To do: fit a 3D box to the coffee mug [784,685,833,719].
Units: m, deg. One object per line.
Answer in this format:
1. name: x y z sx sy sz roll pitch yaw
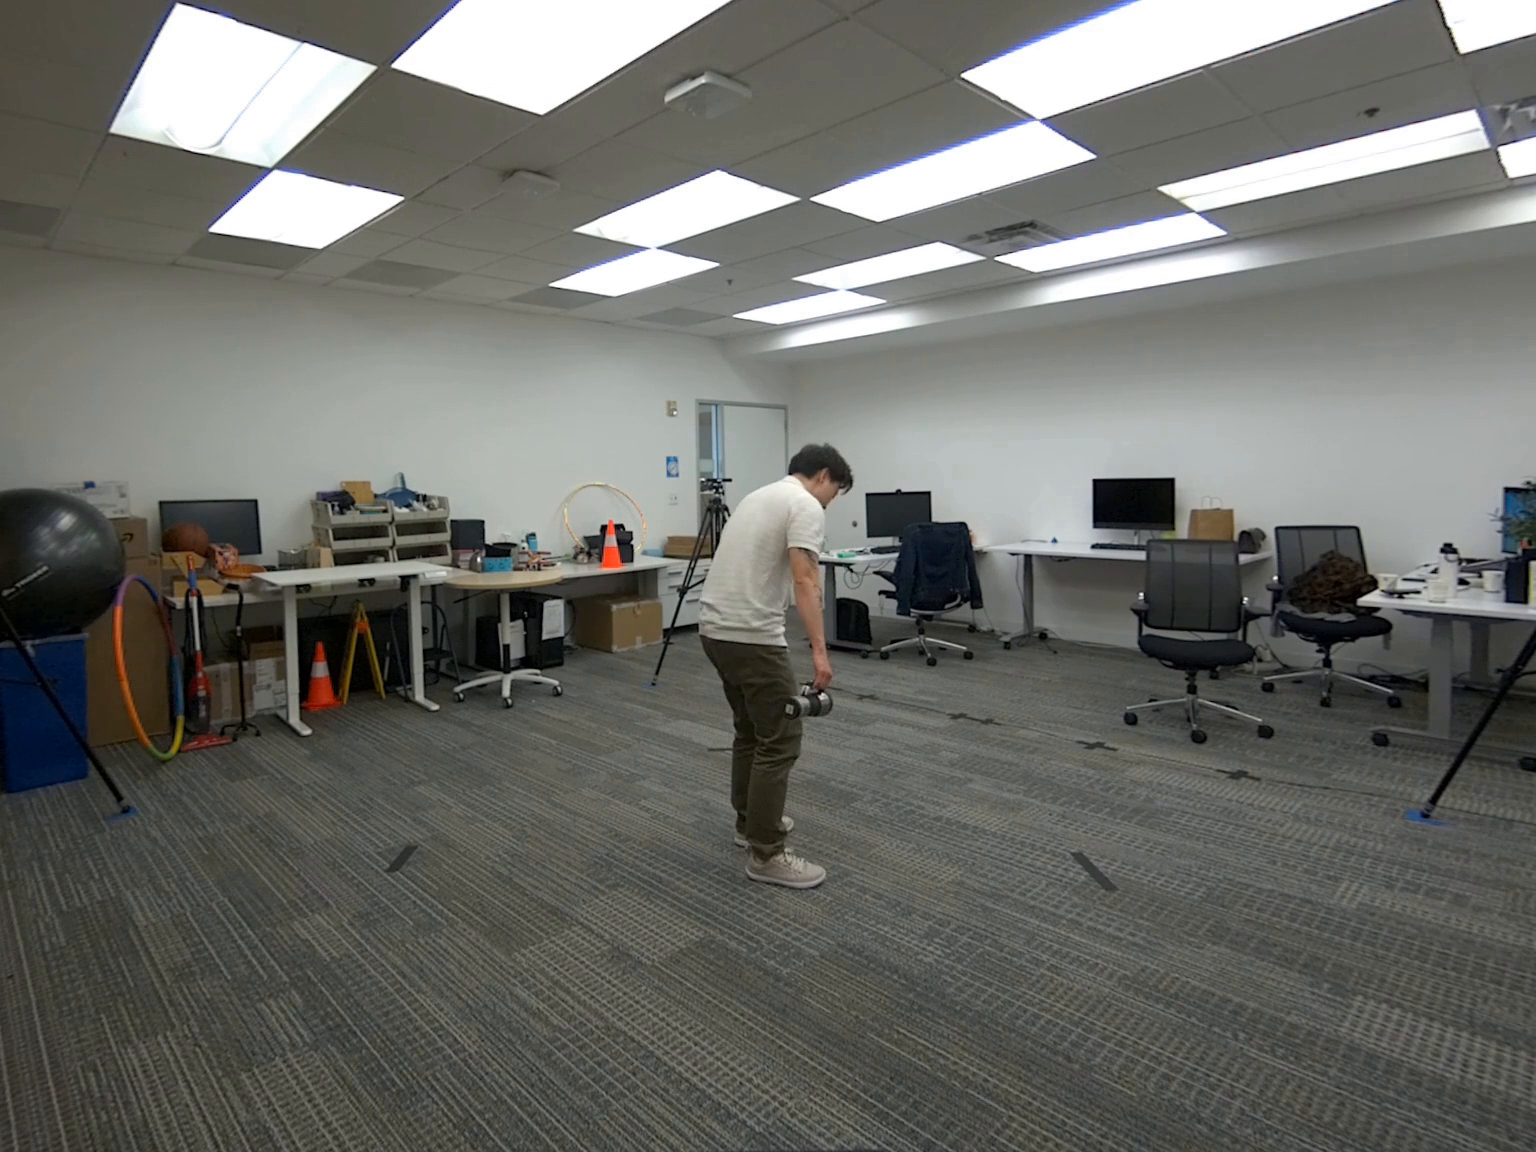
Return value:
1. coffee mug: 0.135 0.423 2.812 0.089 0.124 0.197 -24 -17 36
